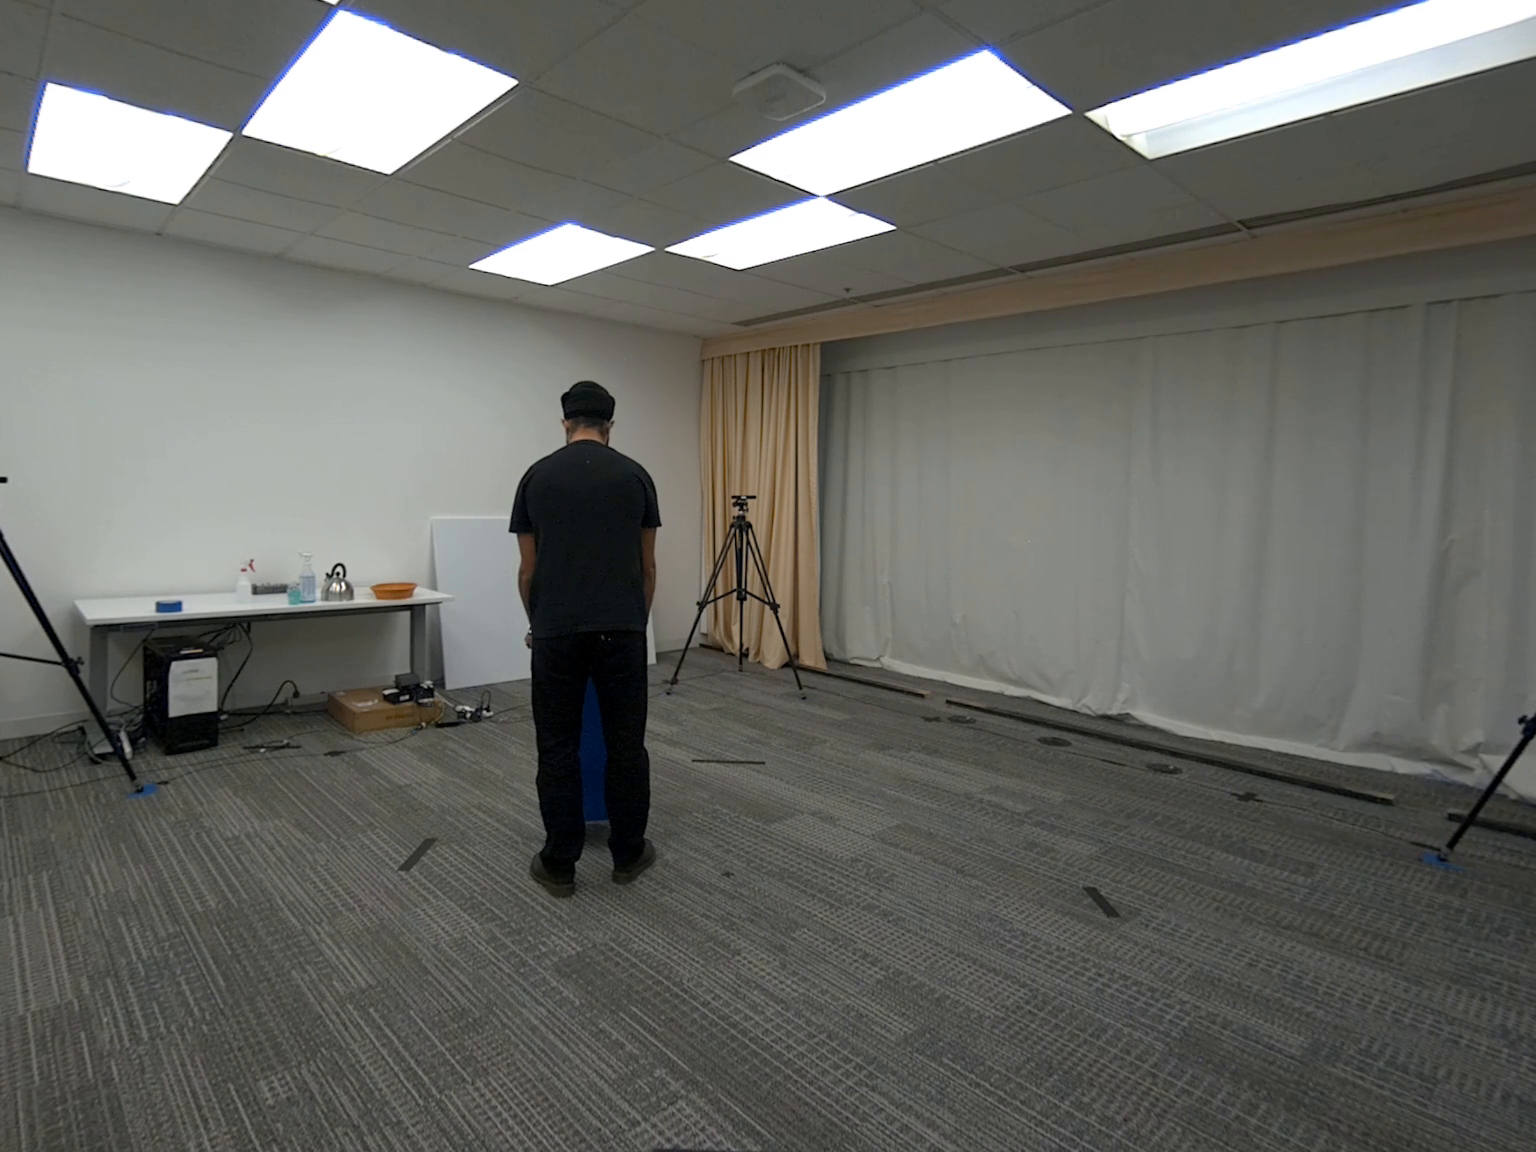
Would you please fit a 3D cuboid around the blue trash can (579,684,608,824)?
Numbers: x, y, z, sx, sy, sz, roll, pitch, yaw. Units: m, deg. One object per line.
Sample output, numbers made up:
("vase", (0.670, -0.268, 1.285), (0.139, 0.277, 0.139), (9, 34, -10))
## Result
("blue trash can", (-0.754, 0.612, 3.444), (0.375, 0.715, 0.376), (-1, -3, -10))
